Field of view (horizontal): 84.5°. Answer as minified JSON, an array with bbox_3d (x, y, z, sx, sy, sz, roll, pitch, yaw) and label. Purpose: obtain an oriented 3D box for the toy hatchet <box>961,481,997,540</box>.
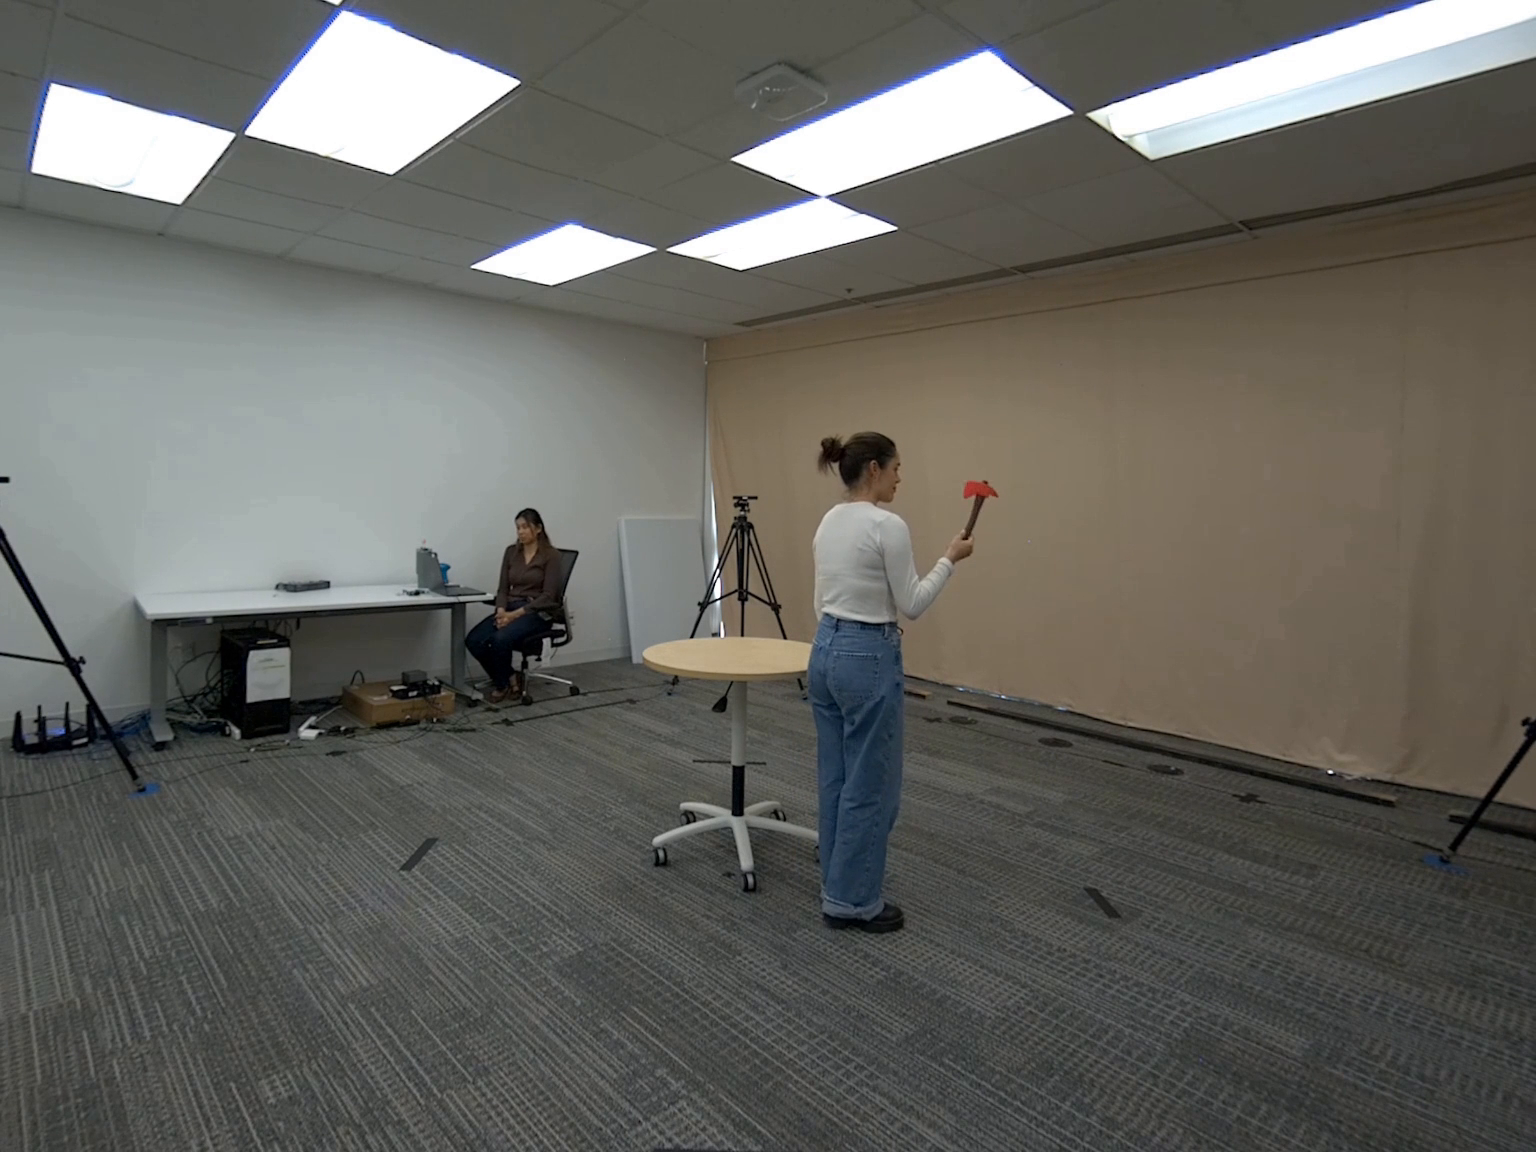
[{"bbox_3d":[0.649,-0.210,2.793,0.130,0.270,0.030,40,-9,-5],"label":"toy hatchet"}]
